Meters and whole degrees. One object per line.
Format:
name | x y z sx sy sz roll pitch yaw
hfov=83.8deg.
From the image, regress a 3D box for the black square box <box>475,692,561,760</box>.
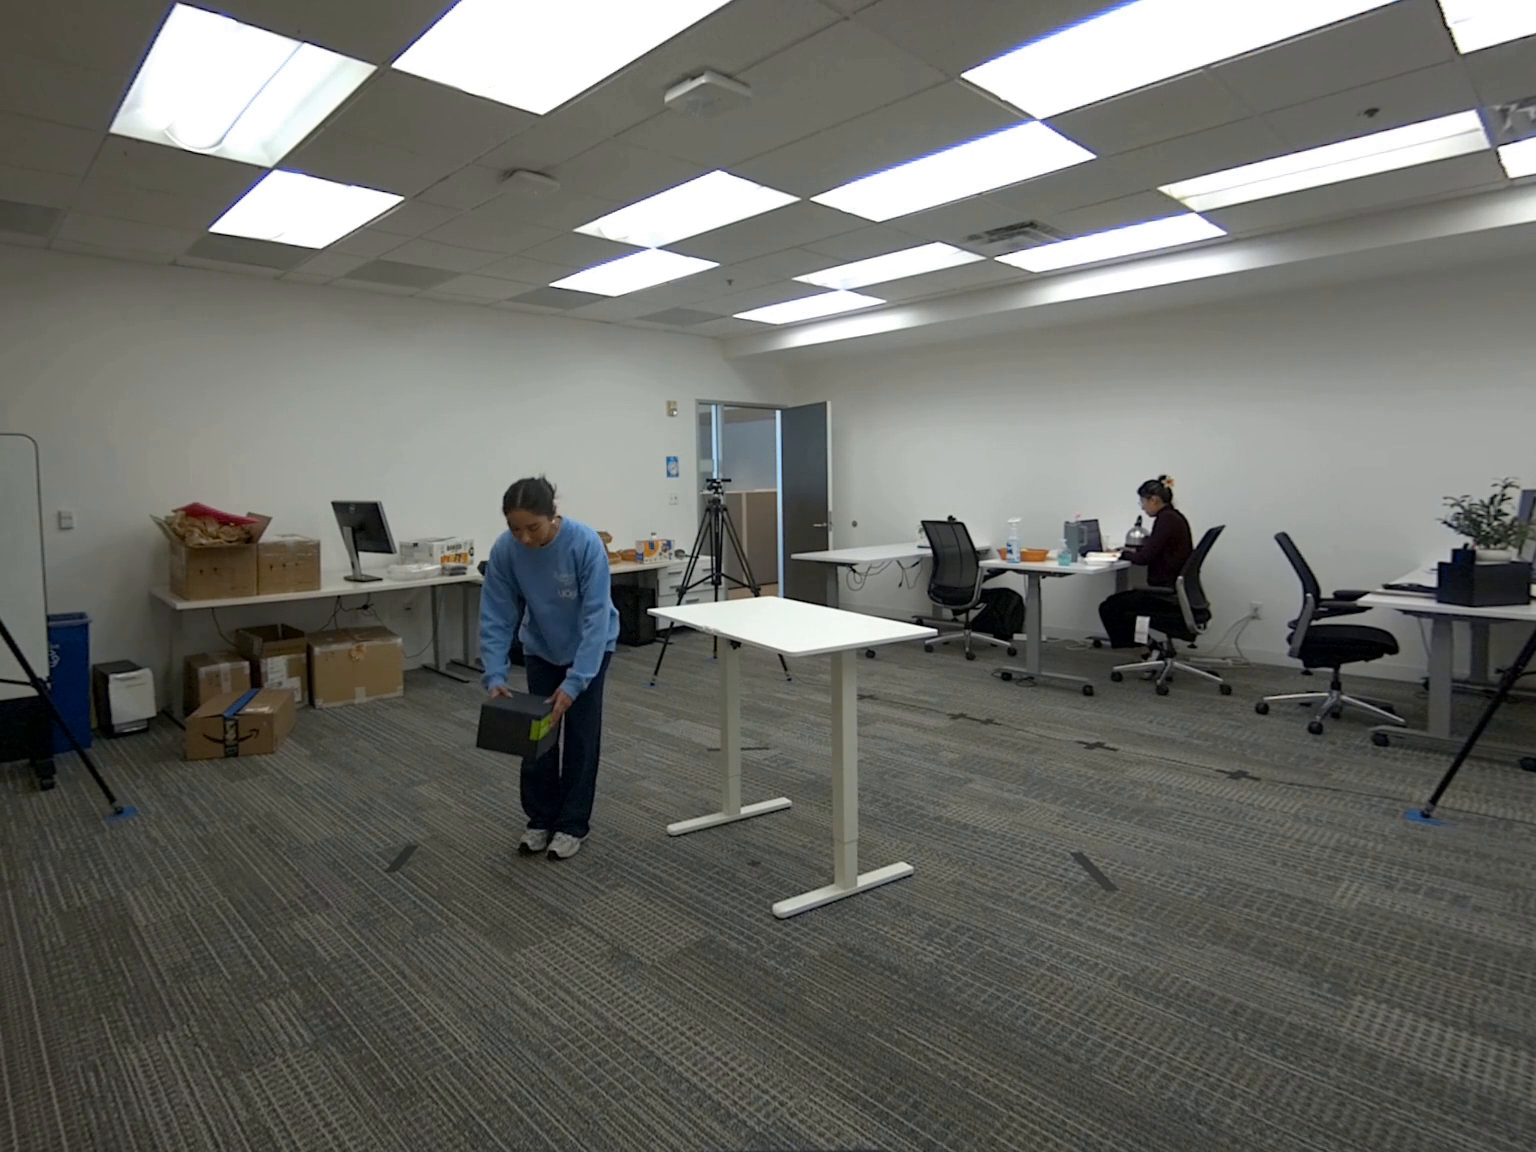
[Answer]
black square box | -0.866 0.519 2.990 0.219 0.155 0.227 8 5 6
